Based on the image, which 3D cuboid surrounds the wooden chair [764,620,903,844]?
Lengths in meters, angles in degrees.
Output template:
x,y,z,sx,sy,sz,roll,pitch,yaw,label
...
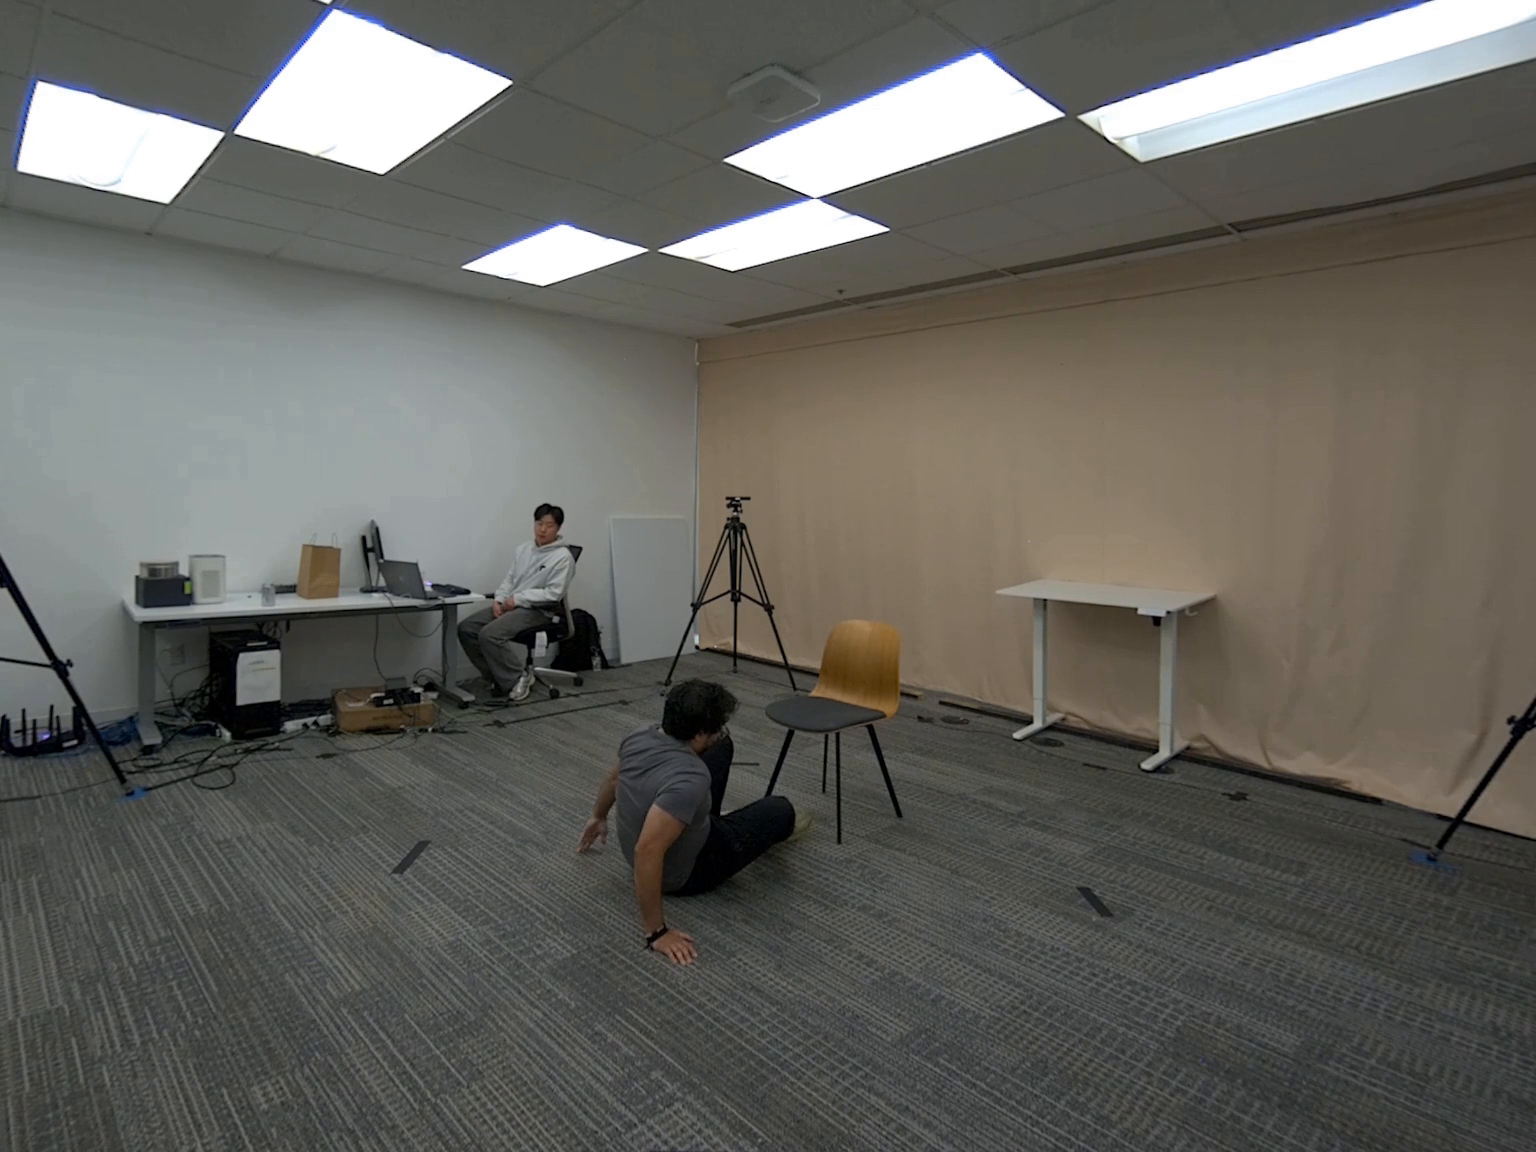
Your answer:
x,y,z,sx,sy,sz,roll,pitch,yaw,label
0.277,0.638,3.700,0.490,0.877,0.510,4,0,44,wooden chair
